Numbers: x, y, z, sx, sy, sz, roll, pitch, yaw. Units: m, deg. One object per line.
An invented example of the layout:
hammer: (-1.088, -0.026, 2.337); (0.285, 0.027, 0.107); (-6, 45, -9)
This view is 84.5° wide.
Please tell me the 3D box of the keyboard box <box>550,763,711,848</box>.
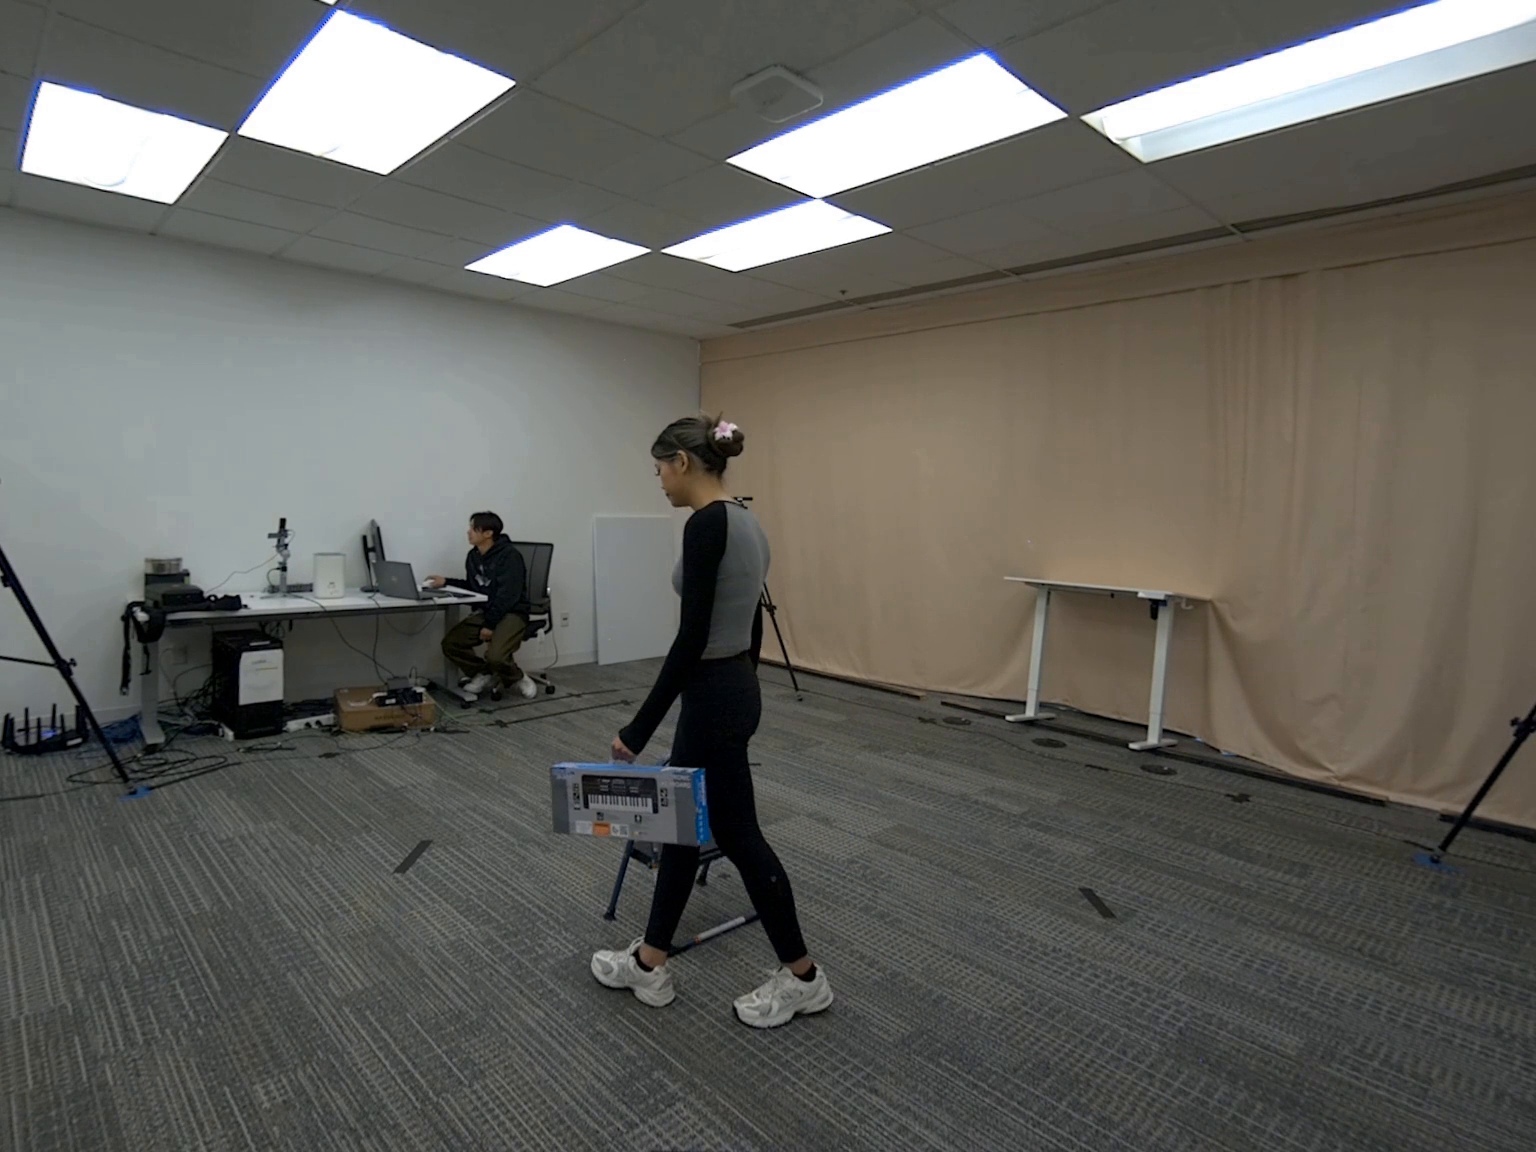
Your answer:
keyboard box: (-0.359, 0.564, 2.115); (0.444, 0.176, 0.058); (-5, -3, 25)
